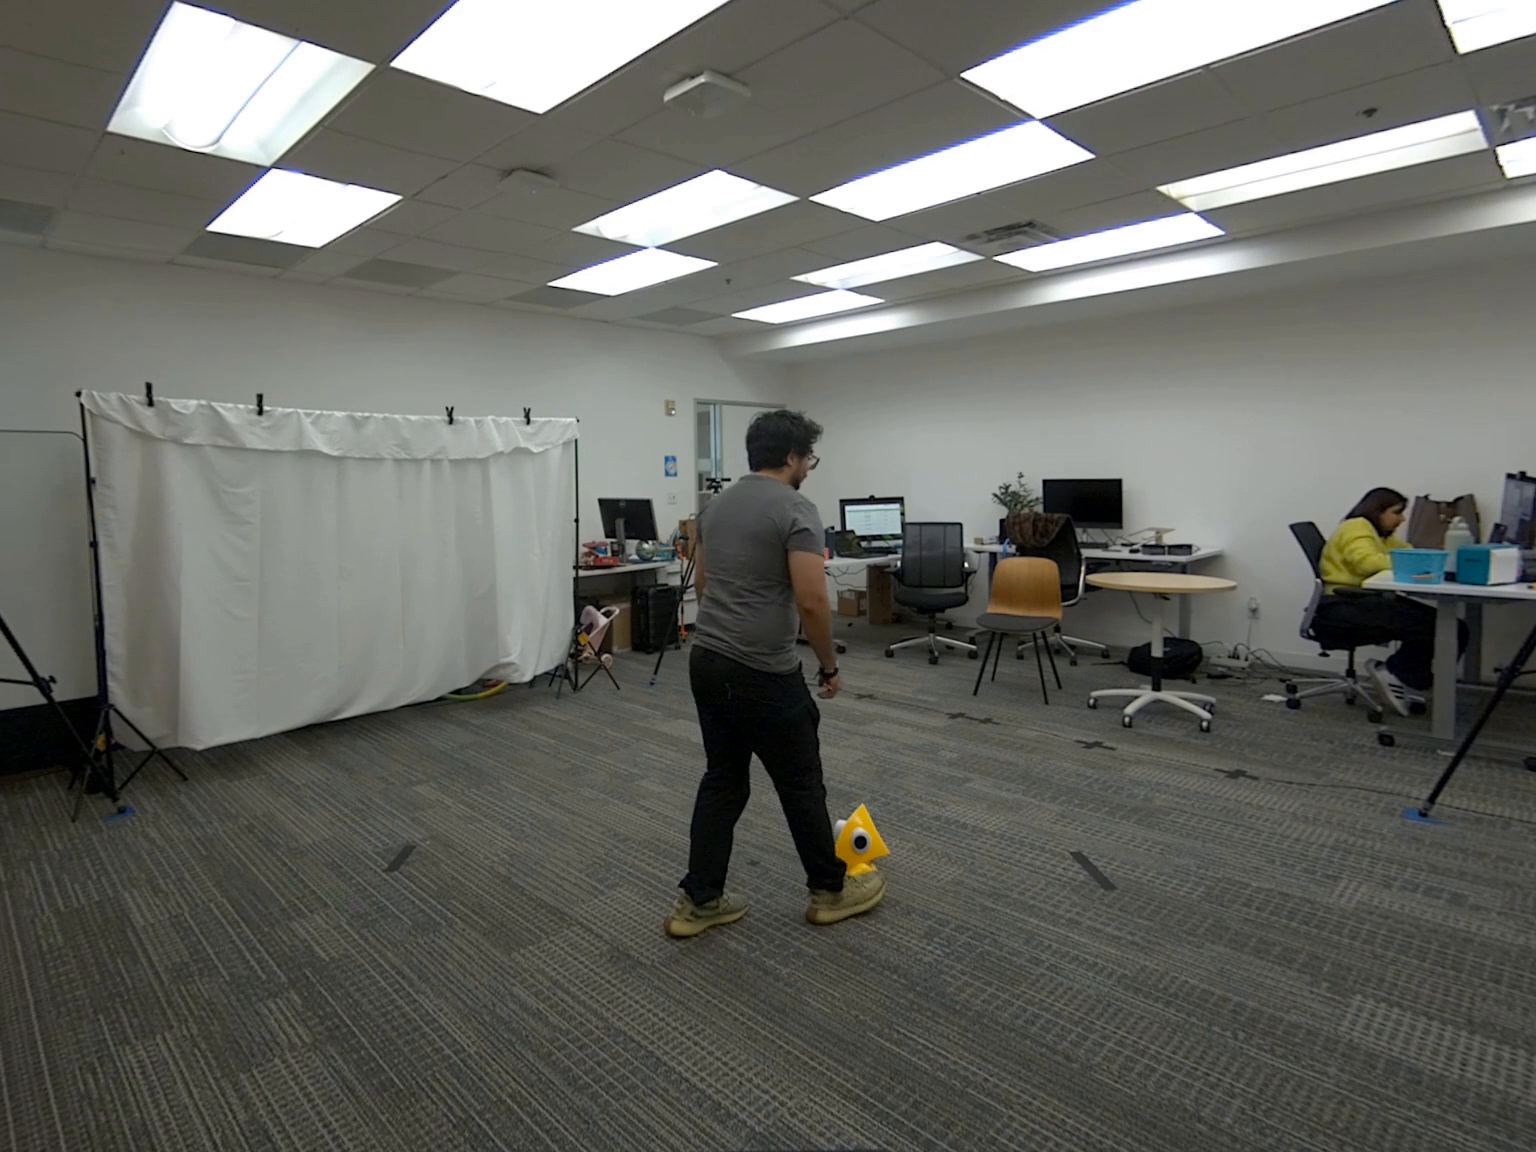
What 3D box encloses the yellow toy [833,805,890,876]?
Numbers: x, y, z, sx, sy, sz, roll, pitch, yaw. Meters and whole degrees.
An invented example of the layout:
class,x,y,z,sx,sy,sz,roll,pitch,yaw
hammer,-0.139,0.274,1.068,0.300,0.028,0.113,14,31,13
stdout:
class,x,y,z,sx,sy,sz,roll,pitch,yaw
yellow toy,0.296,0.934,3.016,0.188,0.230,0.211,-5,6,-35
